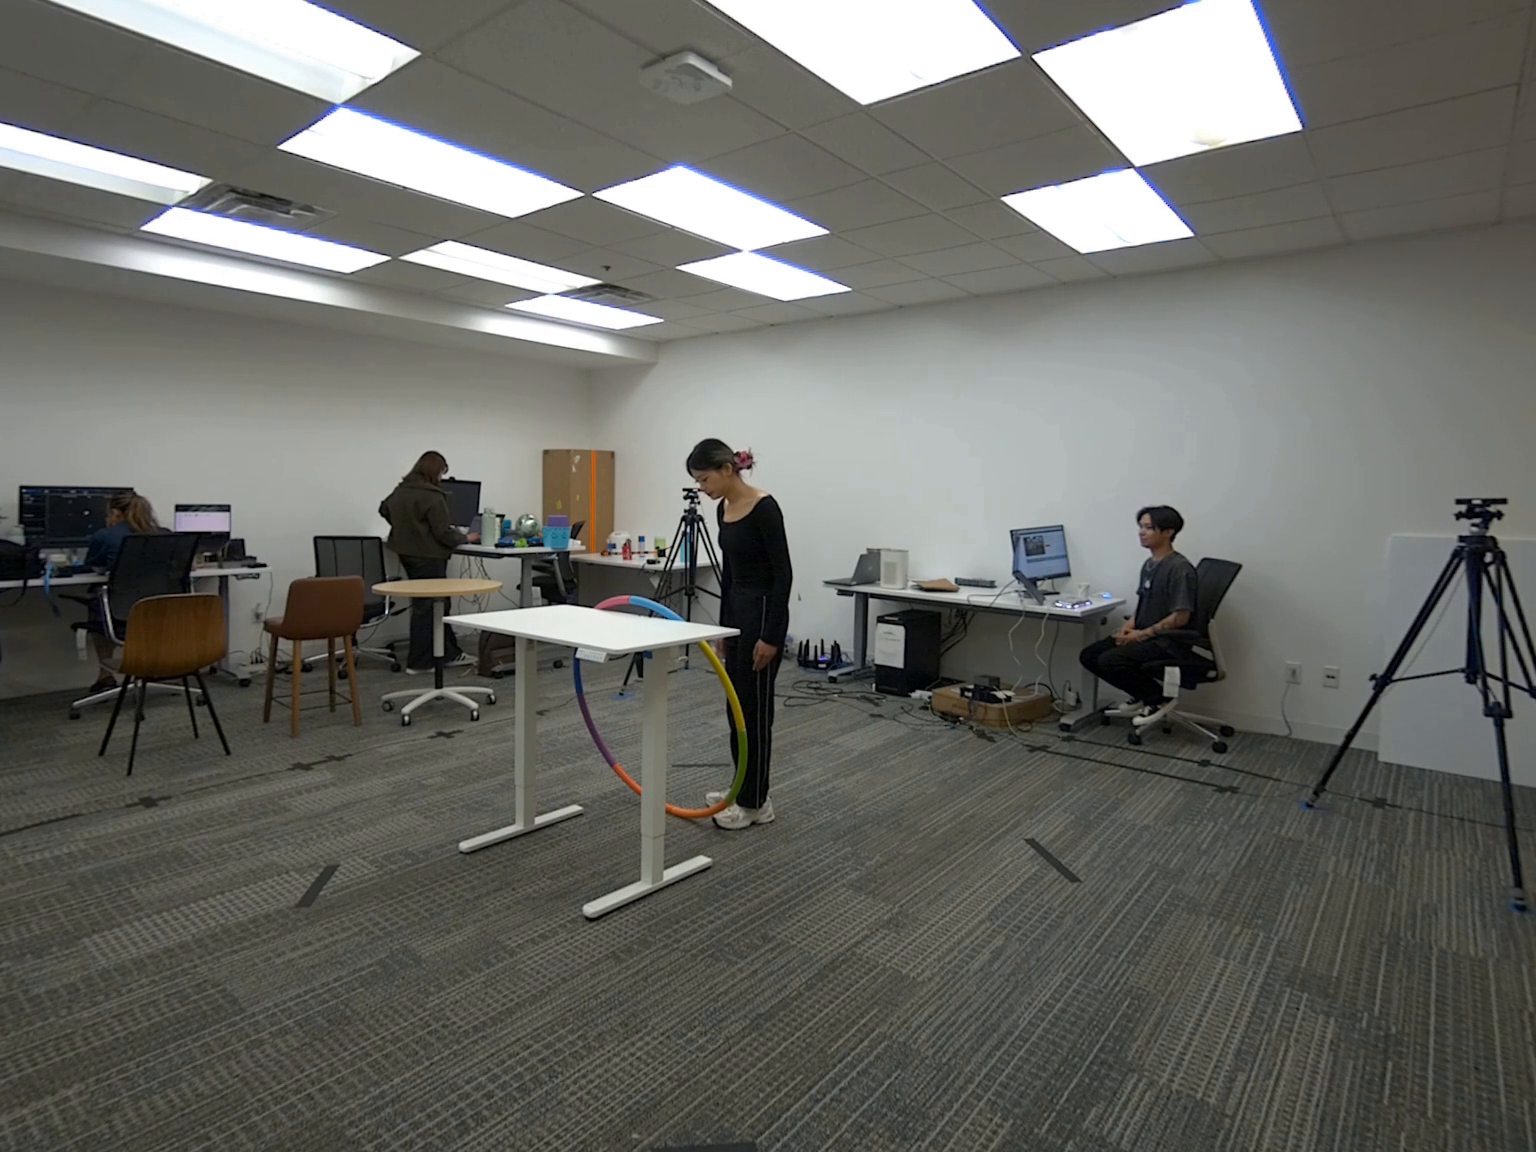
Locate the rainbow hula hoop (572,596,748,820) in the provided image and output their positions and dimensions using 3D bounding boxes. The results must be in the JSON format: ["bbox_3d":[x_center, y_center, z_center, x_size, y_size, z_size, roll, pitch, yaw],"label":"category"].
[{"bbox_3d":[-0.486,0.553,3.530,1.011,0.963,0.035,4,19,39],"label":"rainbow hula hoop"}]
